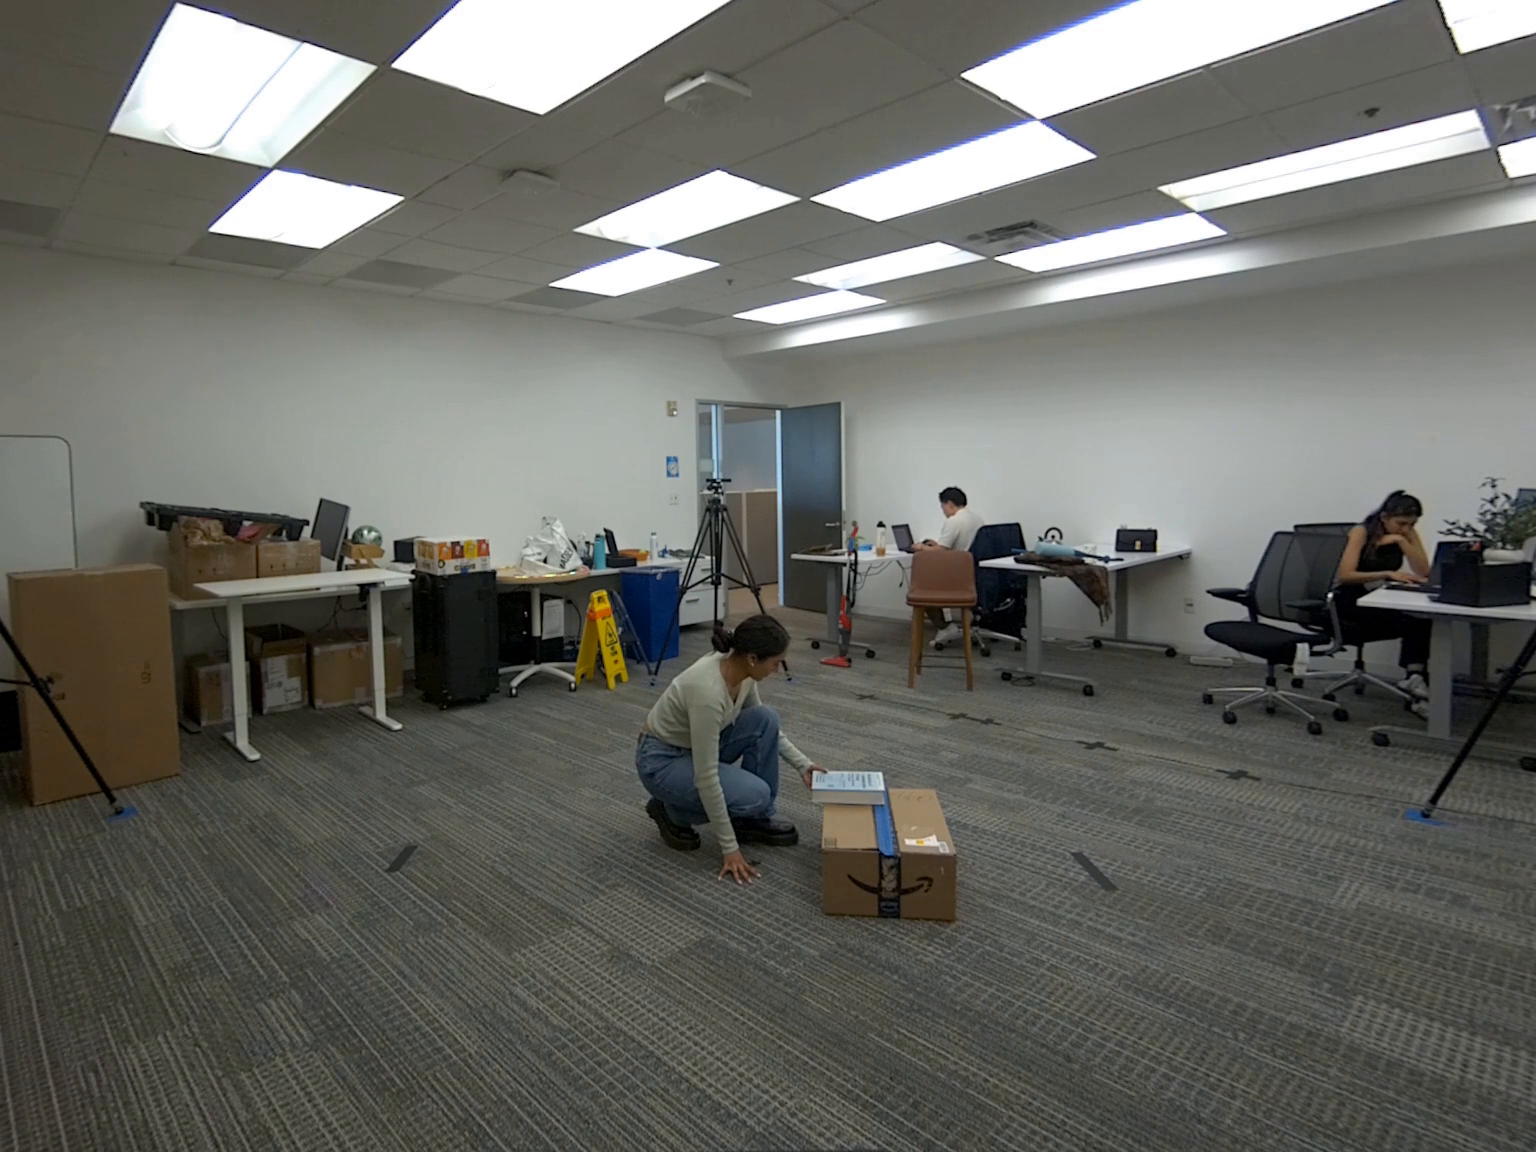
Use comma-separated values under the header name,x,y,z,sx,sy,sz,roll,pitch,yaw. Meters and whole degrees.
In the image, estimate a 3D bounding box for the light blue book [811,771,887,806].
name,x,y,z,sx,sy,sz,roll,pitch,yaw
light blue book,0.294,0.780,3.170,0.263,0.059,0.191,-1,7,6
